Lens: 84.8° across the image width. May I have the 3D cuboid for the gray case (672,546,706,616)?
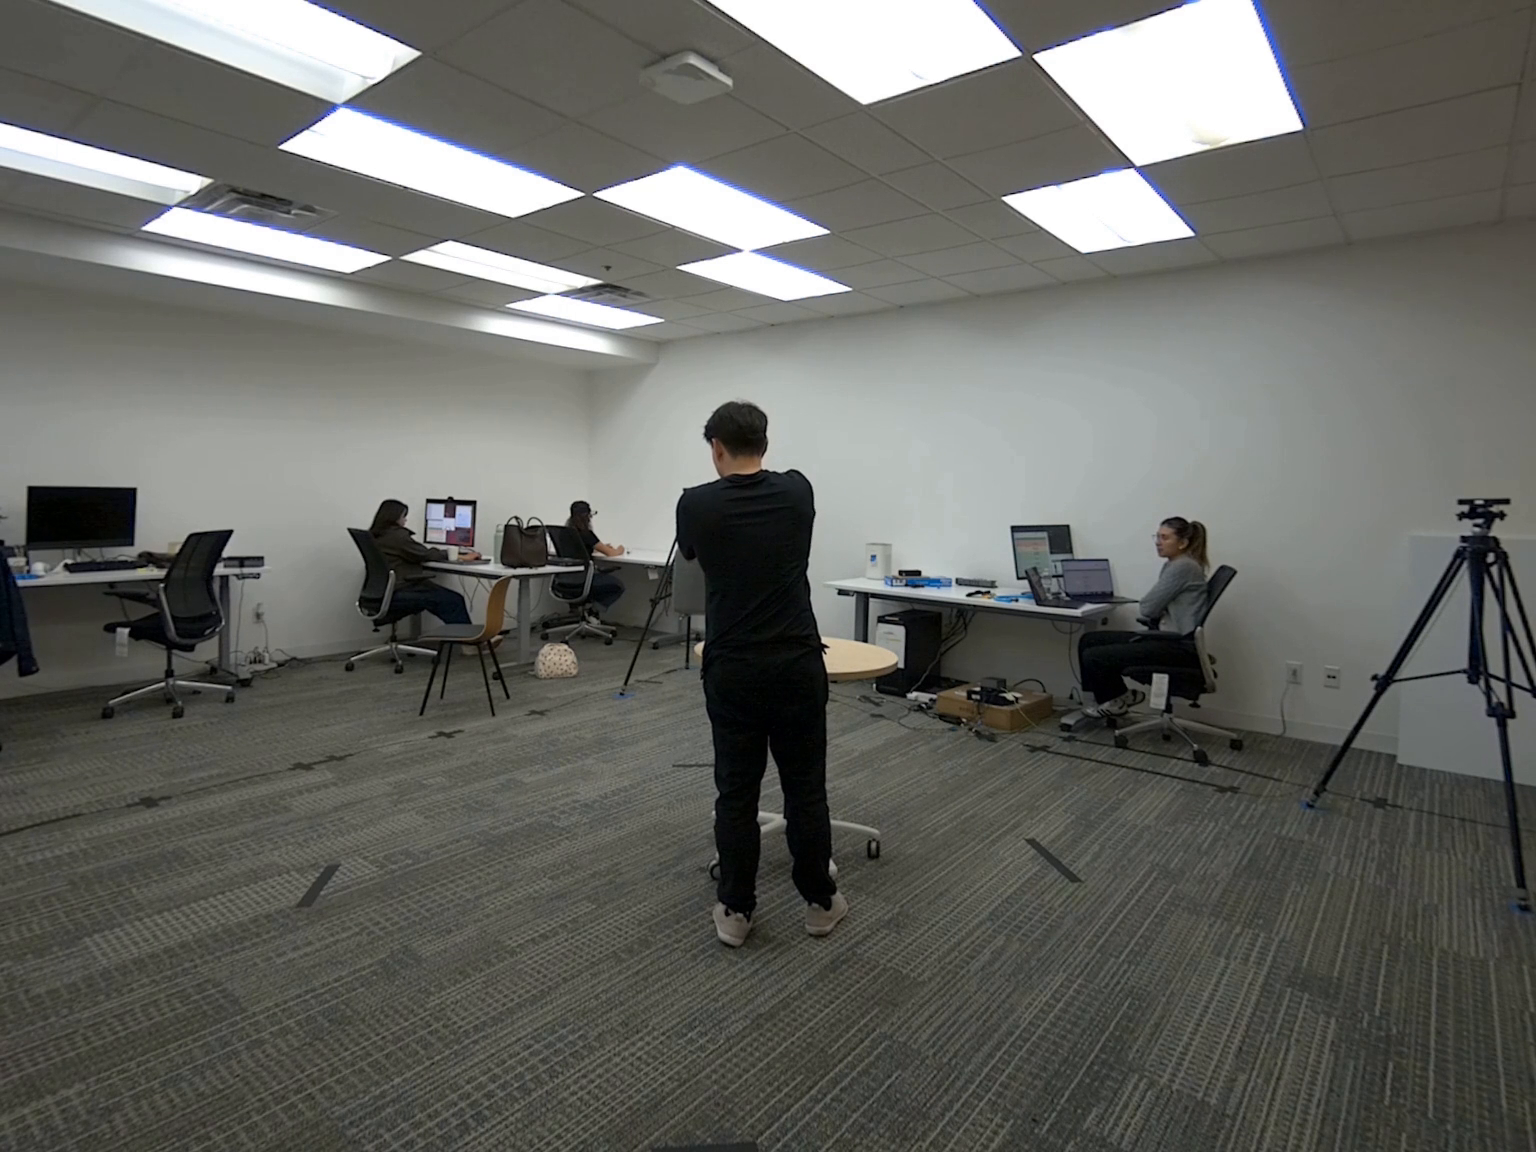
[{"bbox_3d":[-0.232,0.013,3.168,0.262,0.261,0.102,3,0,18],"label":"gray case"}]
